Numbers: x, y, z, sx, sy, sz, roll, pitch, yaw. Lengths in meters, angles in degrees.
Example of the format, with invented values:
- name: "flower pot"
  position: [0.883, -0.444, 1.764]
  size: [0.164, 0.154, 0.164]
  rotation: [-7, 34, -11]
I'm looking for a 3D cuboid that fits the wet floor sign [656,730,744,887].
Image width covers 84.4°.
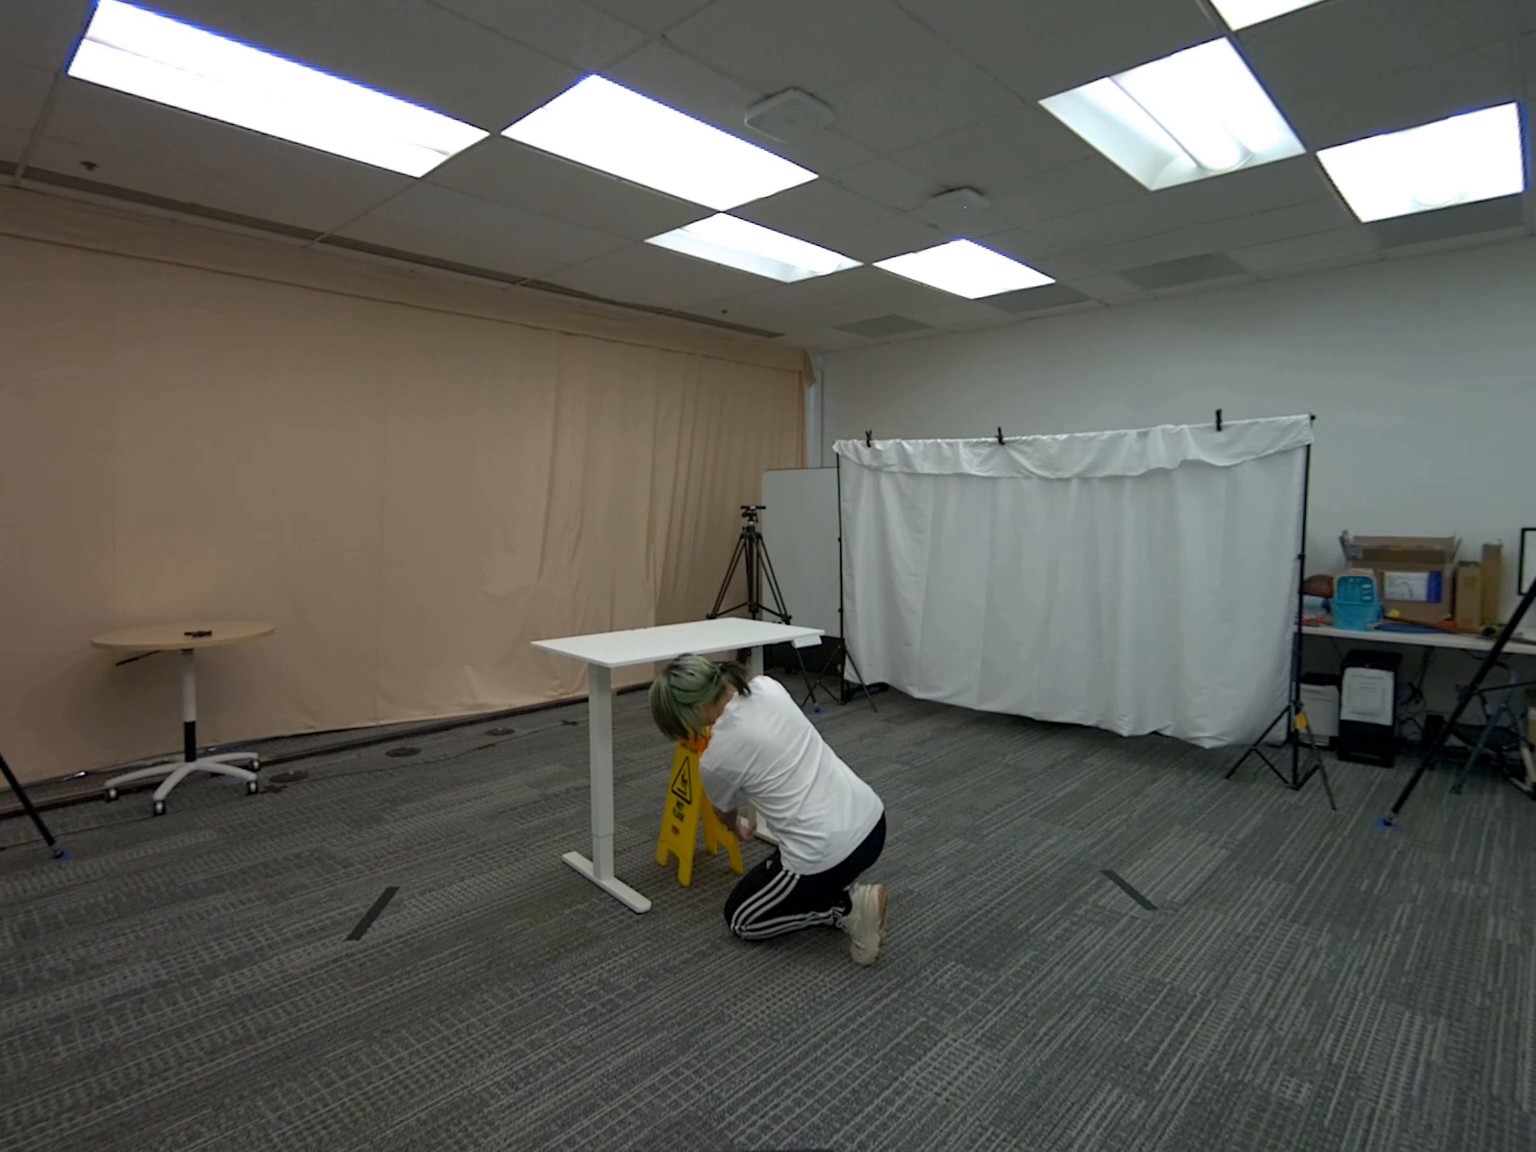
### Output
- name: "wet floor sign"
  position: [-0.262, 0.795, 3.229]
  size: [0.282, 0.645, 0.290]
  rotation: [1, 3, -29]
